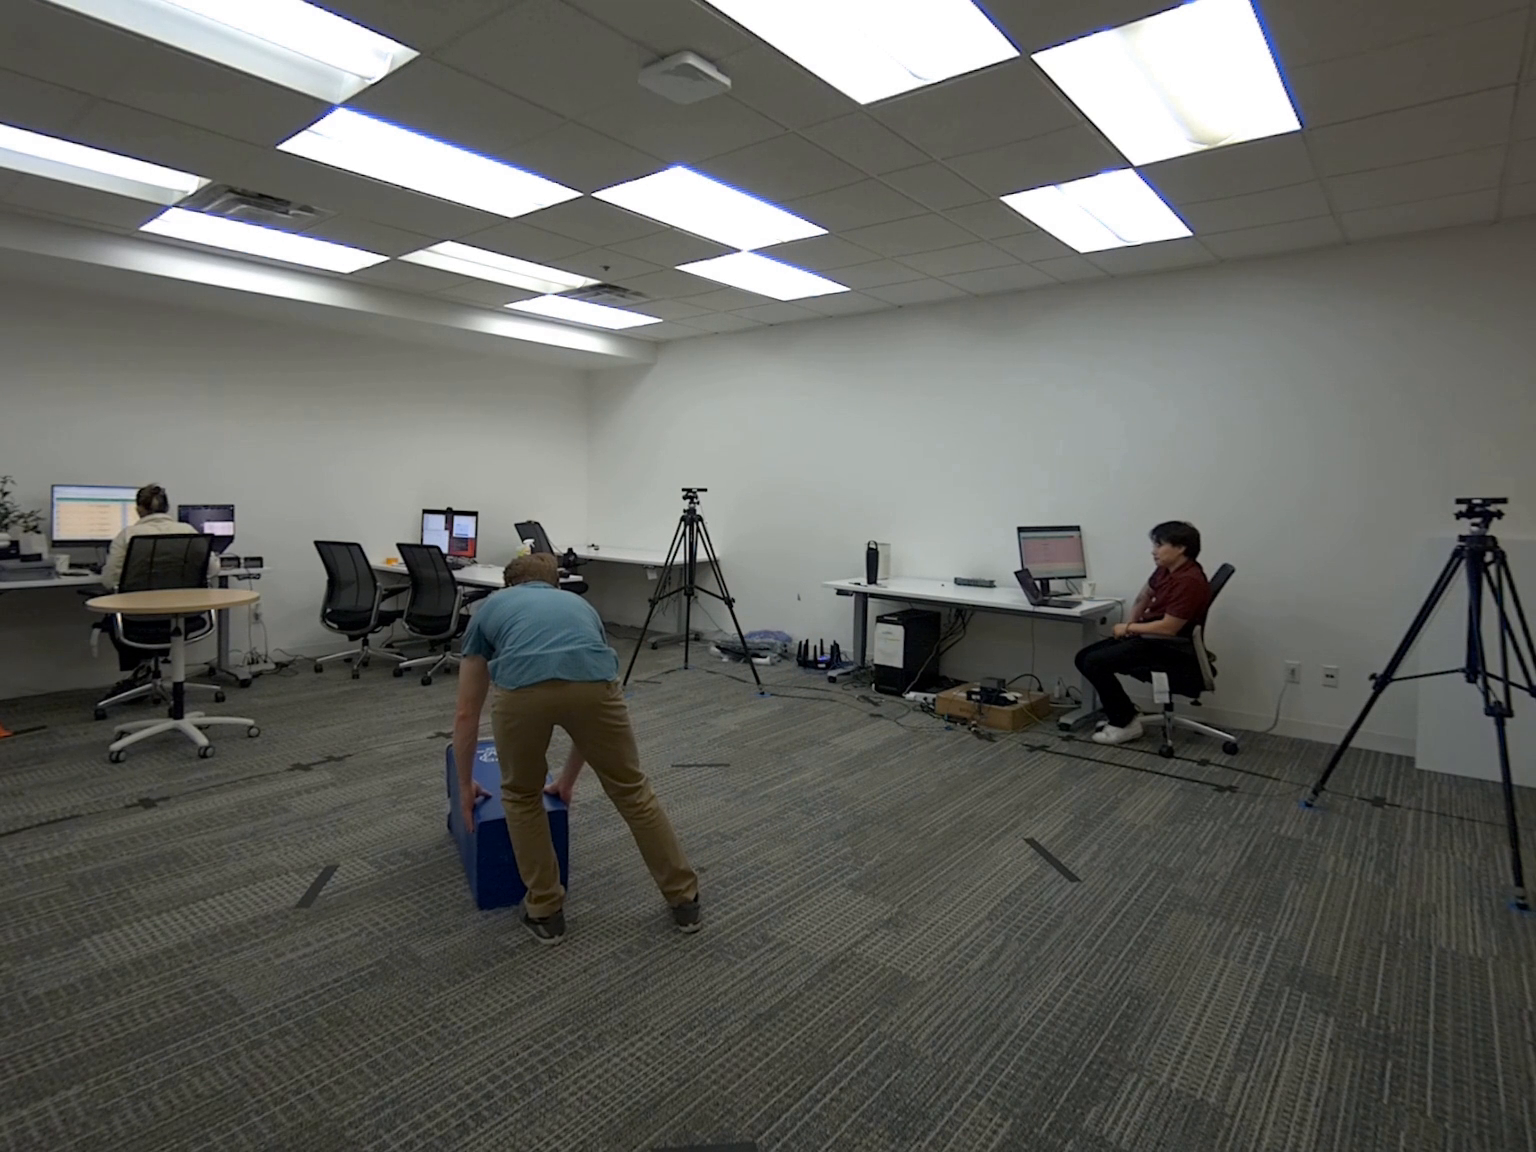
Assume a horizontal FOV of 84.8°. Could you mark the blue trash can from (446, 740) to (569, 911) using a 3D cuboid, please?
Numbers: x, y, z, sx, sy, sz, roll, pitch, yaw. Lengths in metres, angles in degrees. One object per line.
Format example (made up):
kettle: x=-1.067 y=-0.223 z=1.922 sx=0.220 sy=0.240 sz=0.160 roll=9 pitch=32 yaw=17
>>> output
blue trash can: x=-0.978 y=0.883 z=3.143 sx=0.365 sy=0.375 sz=0.735 roll=-2 pitch=9 yaw=-26
